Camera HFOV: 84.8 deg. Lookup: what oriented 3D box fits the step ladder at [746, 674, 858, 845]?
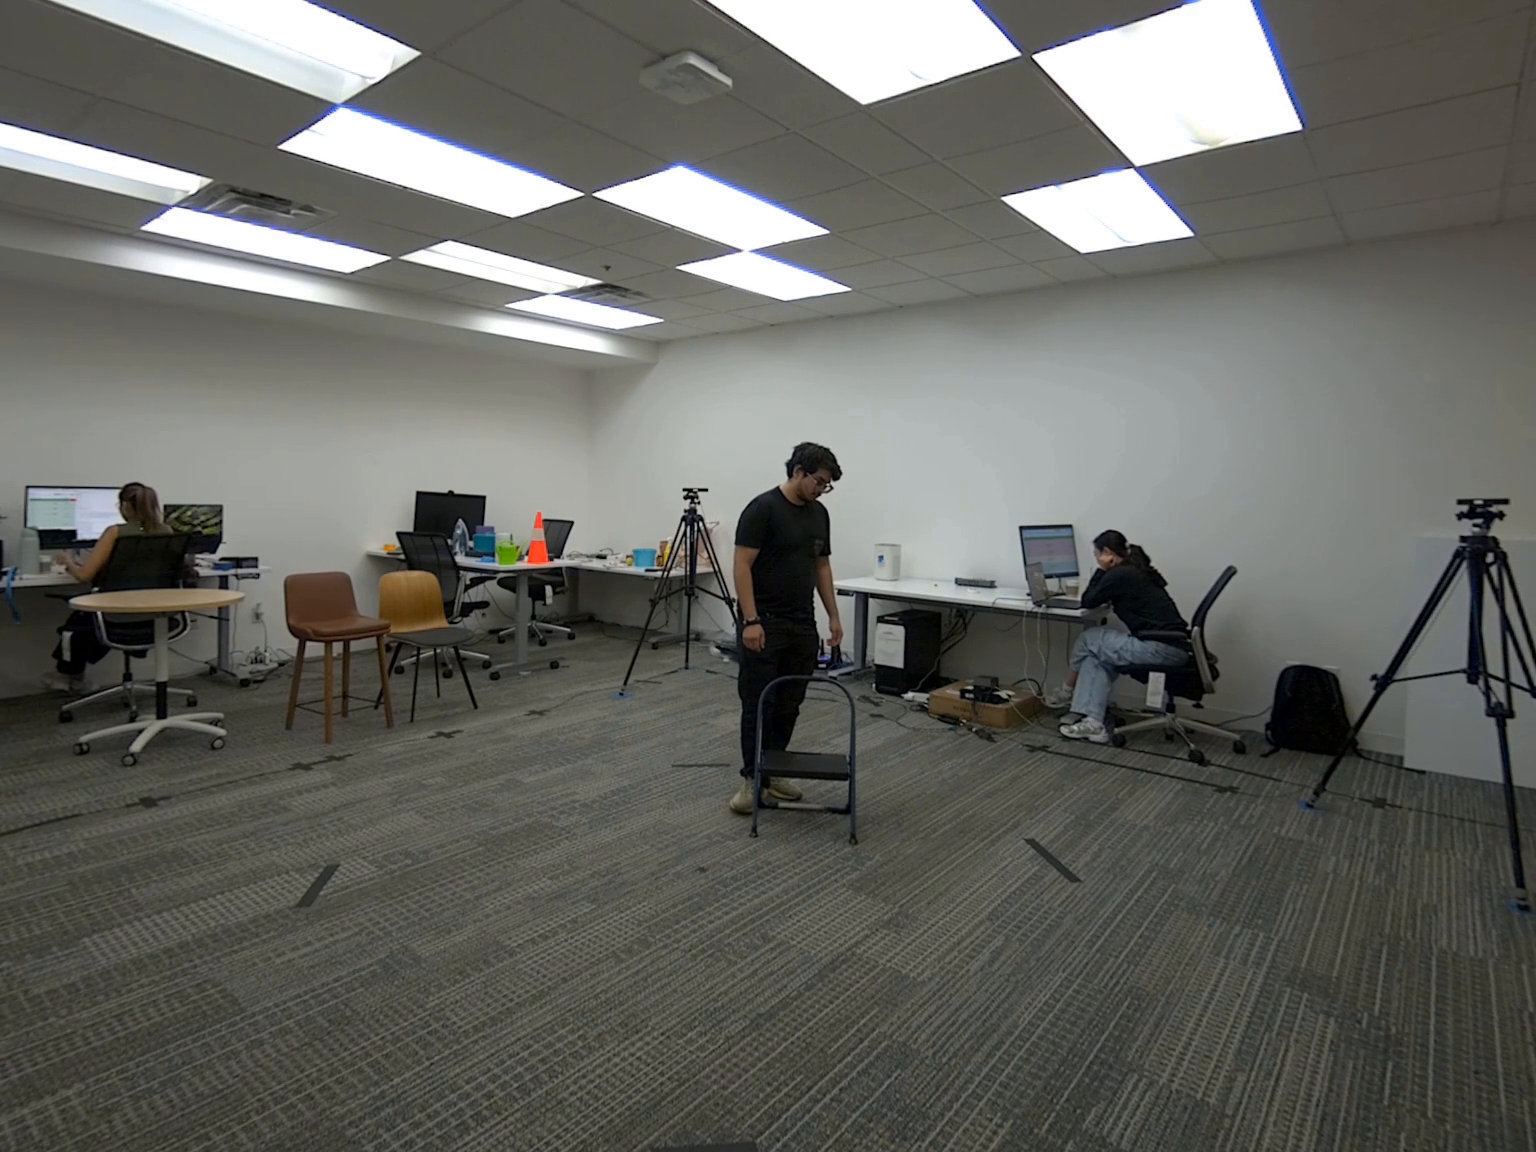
[{"bbox_3d":[0.149,0.734,3.549,0.433,0.604,0.348,1,3,4],"label":"step ladder"}]
